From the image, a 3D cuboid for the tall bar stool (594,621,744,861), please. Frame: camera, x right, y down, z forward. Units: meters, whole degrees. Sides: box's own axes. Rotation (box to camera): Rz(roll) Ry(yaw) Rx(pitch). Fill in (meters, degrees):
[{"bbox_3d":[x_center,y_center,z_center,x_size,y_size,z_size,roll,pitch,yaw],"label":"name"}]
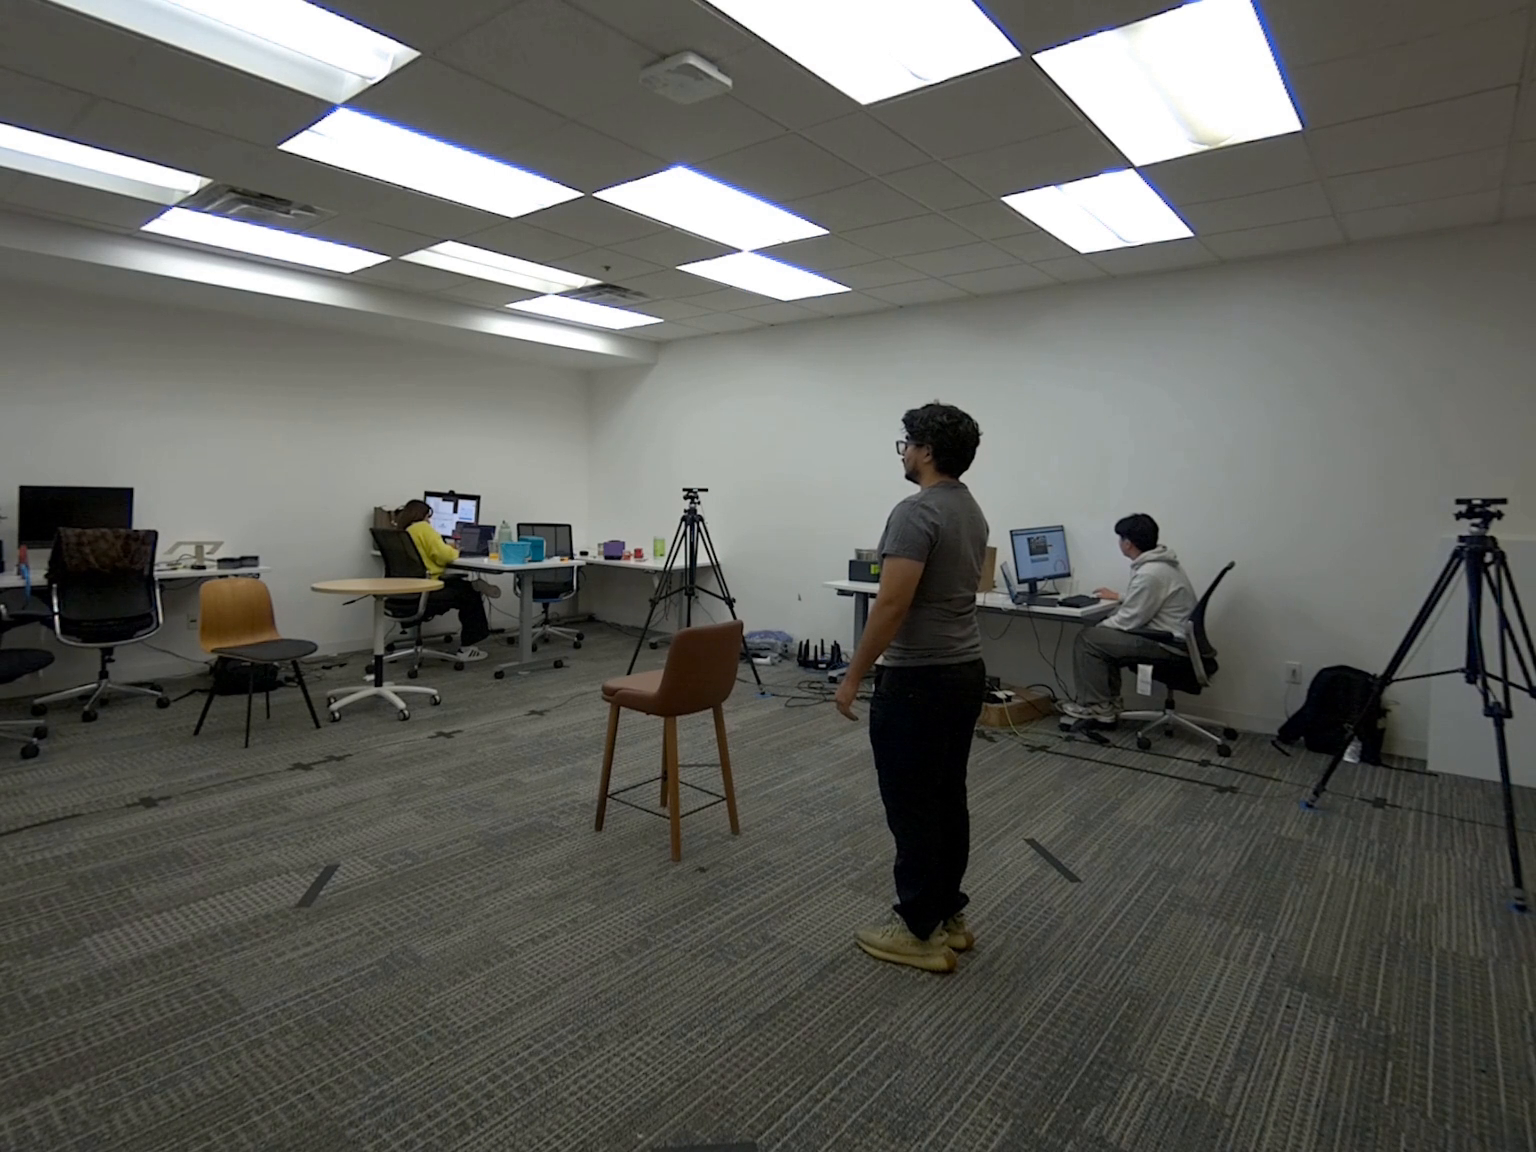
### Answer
[{"bbox_3d":[-0.403,0.600,3.431,0.483,0.887,0.443,6,5,39],"label":"tall bar stool"}]
